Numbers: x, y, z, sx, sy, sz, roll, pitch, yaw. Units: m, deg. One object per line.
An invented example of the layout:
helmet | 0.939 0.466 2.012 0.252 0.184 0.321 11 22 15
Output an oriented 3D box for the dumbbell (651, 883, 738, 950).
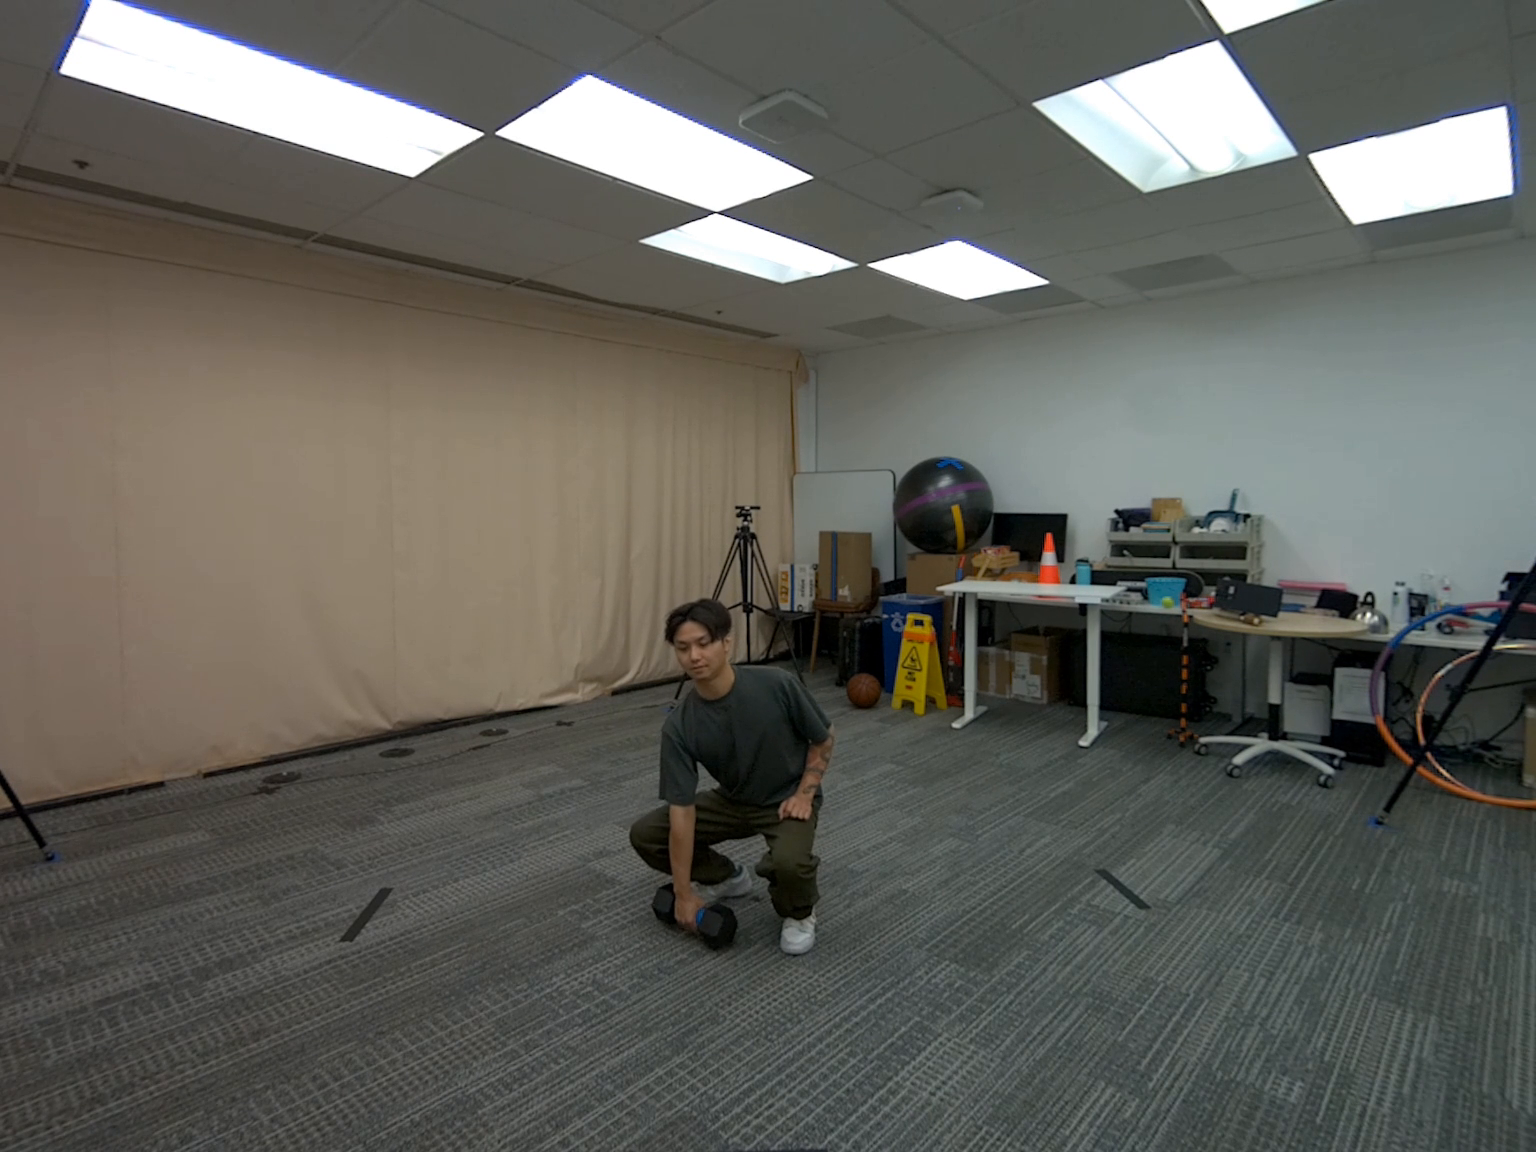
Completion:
dumbbell | -0.242 1.087 2.724 0.303 0.120 0.107 4 35 40
